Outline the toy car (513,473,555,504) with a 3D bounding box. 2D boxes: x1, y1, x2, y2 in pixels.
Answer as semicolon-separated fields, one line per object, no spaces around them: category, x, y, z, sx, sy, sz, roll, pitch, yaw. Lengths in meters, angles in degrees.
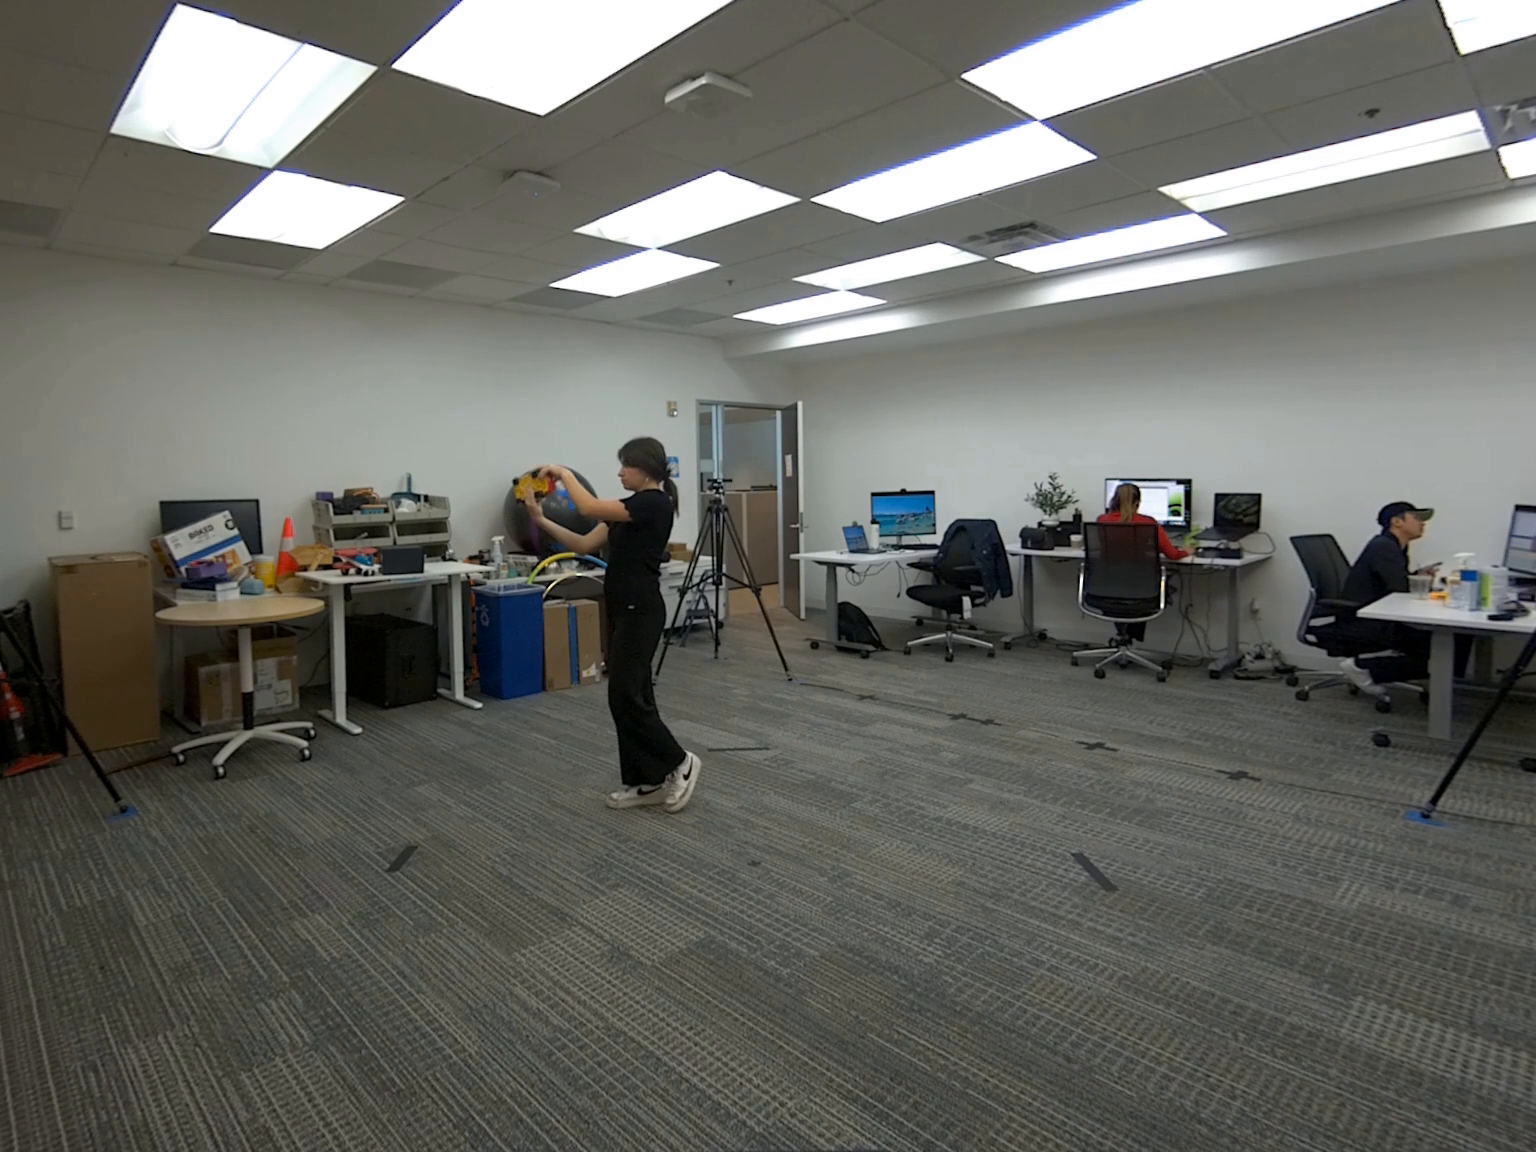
toy car;-0.999;-0.380;3.633;0.260;0.131;0.081;-12;-5;31
